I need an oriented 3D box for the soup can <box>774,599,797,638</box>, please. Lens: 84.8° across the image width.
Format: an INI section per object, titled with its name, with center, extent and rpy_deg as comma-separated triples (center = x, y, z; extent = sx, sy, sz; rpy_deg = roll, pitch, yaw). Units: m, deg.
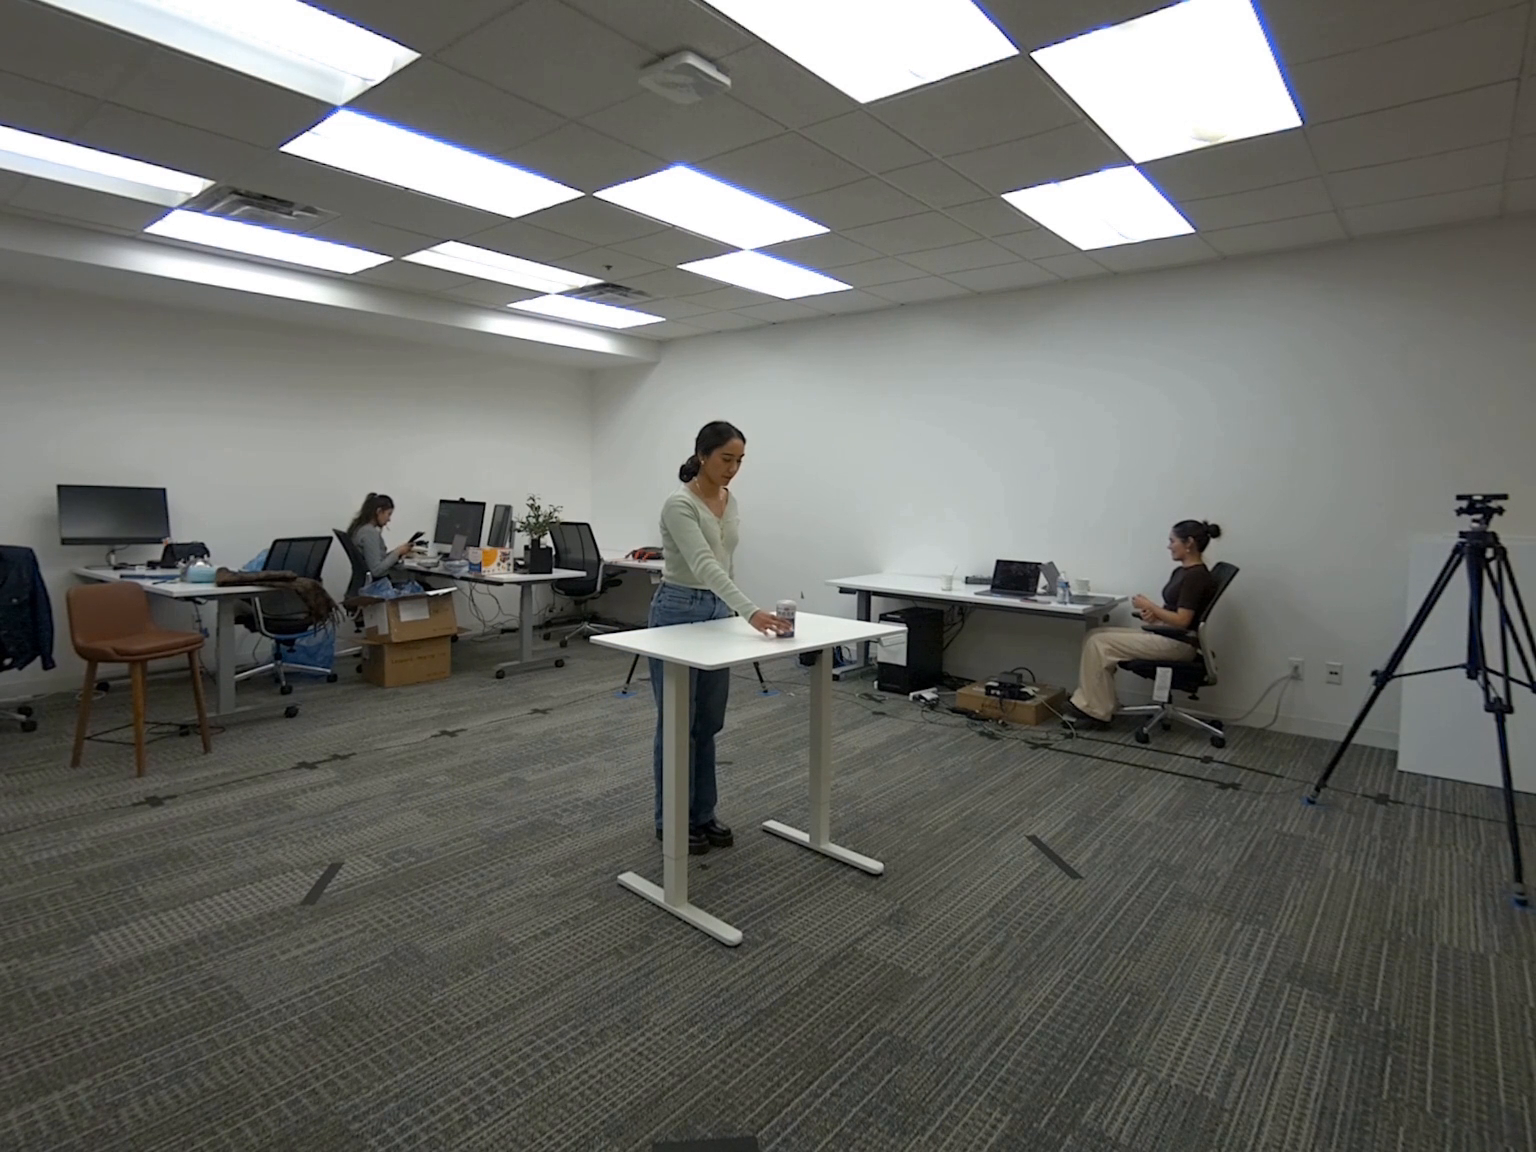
[soup can]
center = 0.053, 0.148, 2.903
extent = 0.067, 0.120, 0.068
rpy_deg = -2, 9, -1
